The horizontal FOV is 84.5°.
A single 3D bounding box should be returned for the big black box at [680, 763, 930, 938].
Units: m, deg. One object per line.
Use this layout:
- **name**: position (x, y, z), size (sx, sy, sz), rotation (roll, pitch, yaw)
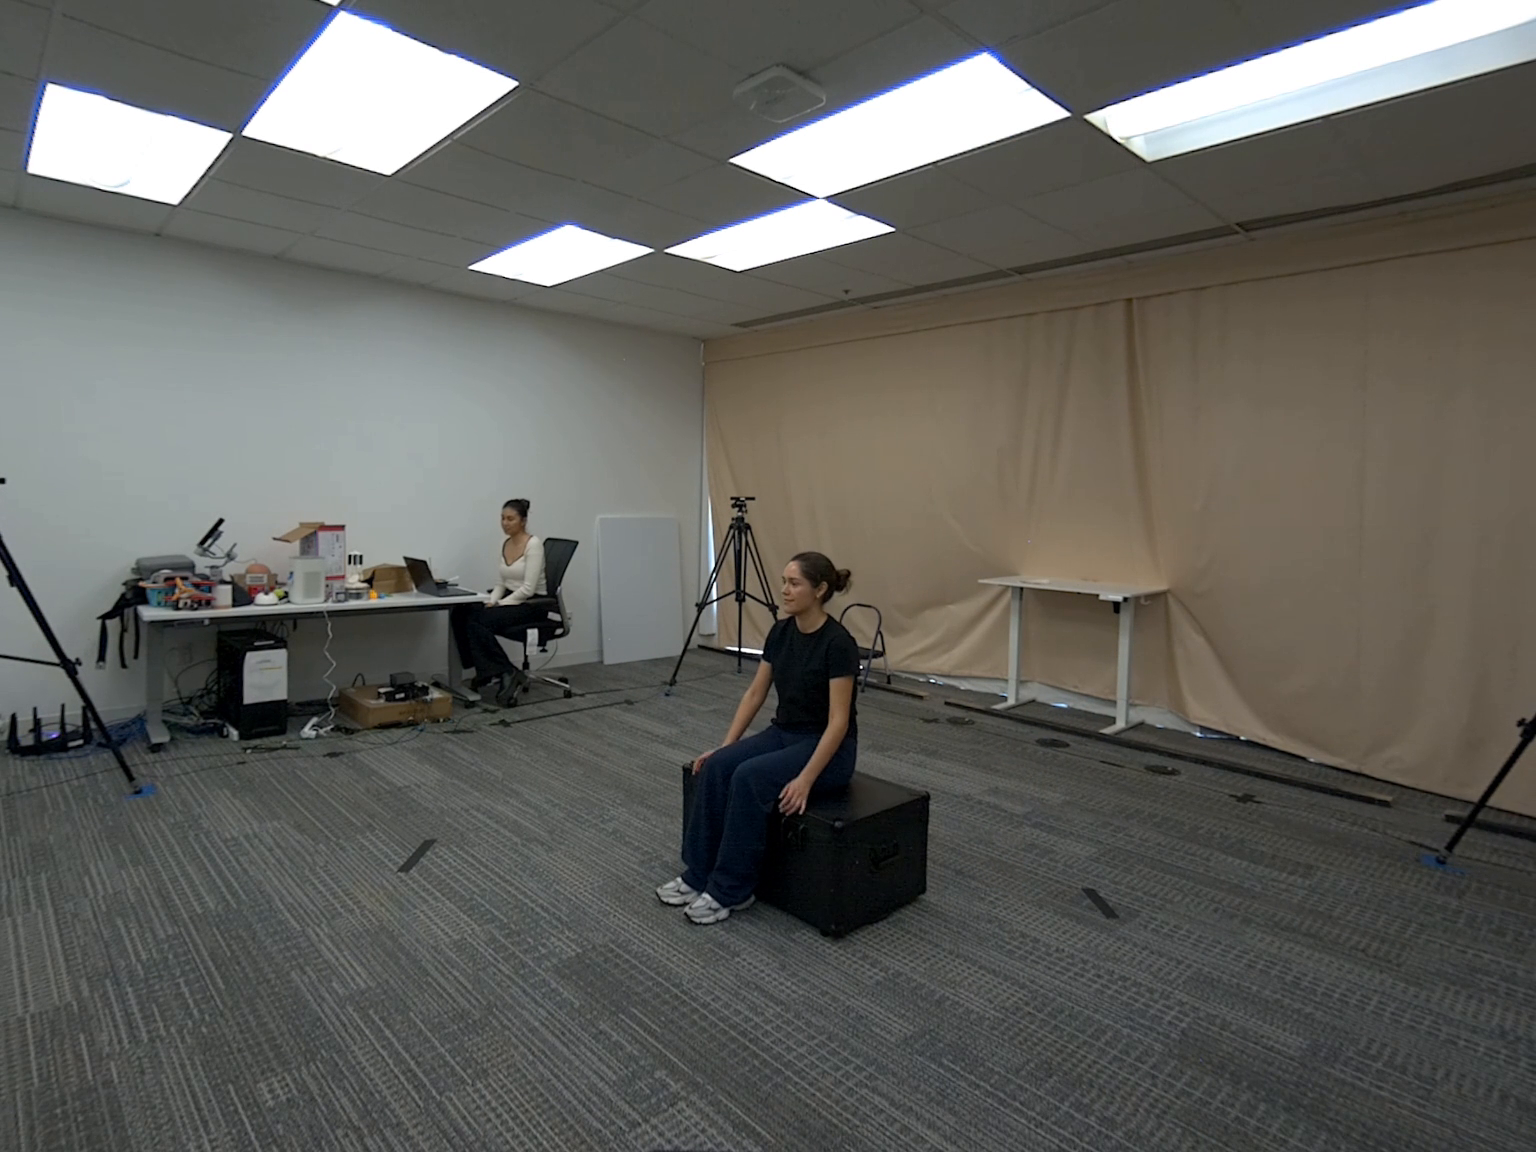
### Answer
- **big black box**: position (0.094, 0.927, 3.087), size (0.509, 0.395, 0.884), rotation (-2, 6, -44)
